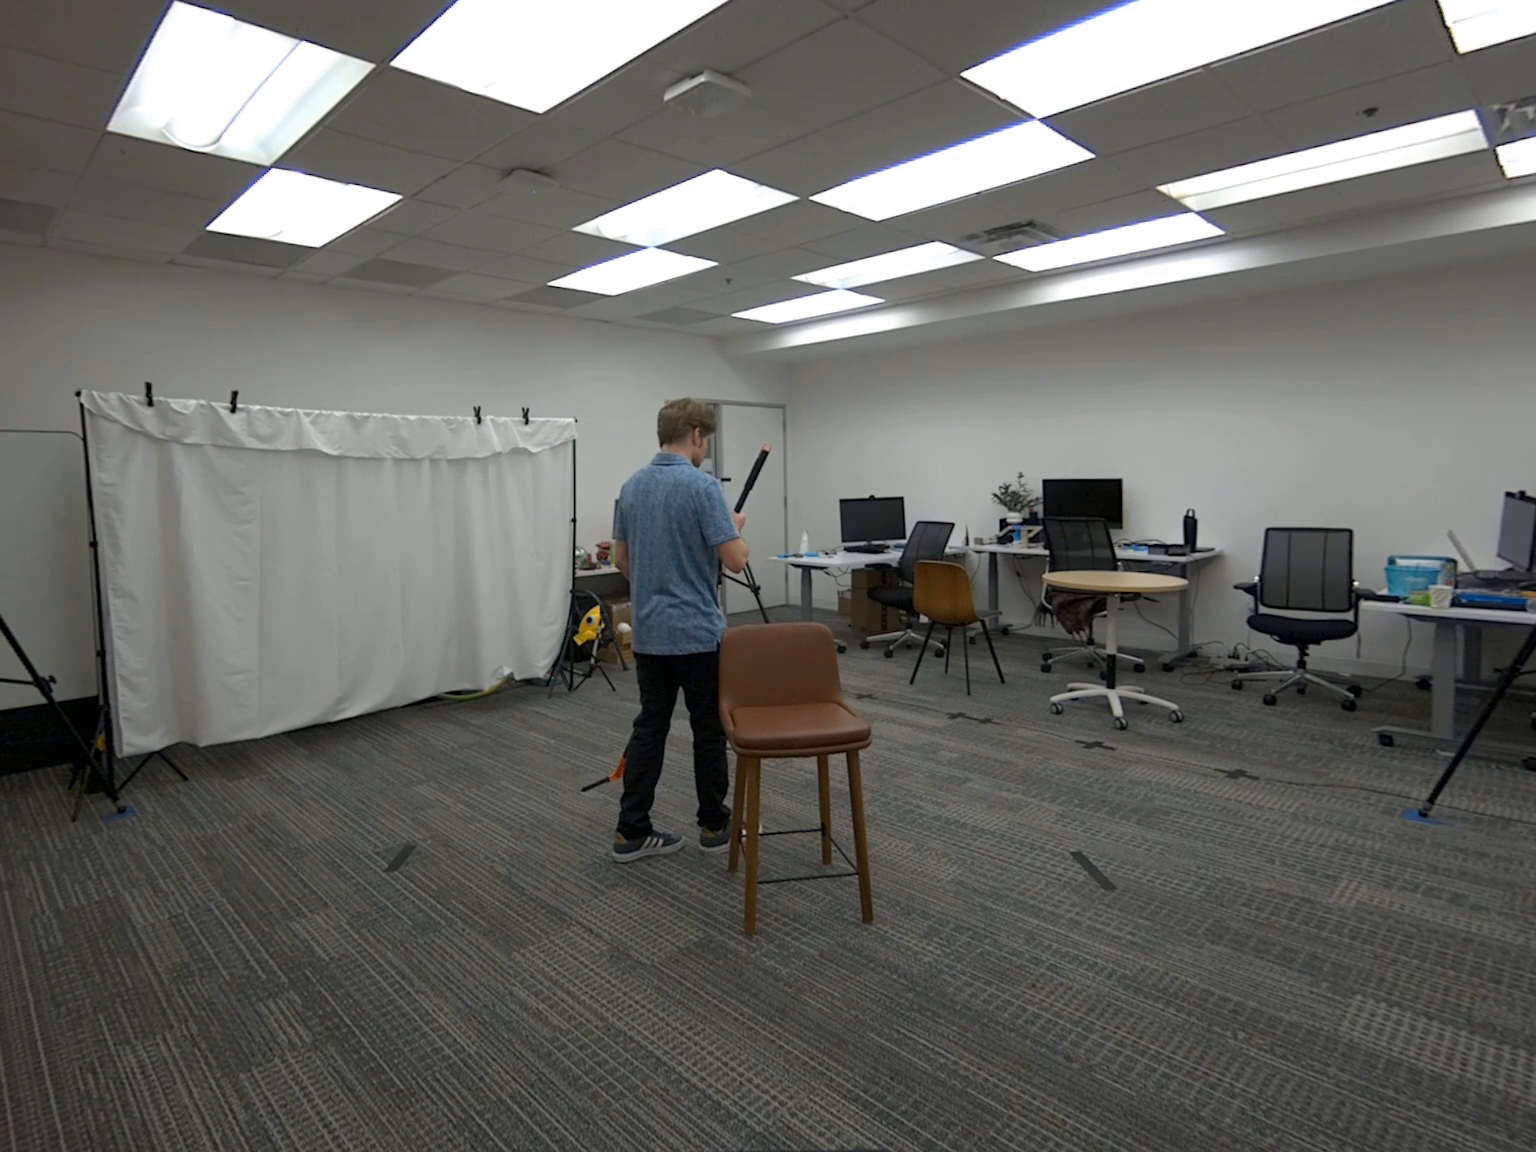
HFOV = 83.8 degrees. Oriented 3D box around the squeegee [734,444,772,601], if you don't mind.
[{"bbox_3d":[-0.317,0.183,3.390,0.054,1.529,0.426,31,14,25],"label":"squeegee"}]
